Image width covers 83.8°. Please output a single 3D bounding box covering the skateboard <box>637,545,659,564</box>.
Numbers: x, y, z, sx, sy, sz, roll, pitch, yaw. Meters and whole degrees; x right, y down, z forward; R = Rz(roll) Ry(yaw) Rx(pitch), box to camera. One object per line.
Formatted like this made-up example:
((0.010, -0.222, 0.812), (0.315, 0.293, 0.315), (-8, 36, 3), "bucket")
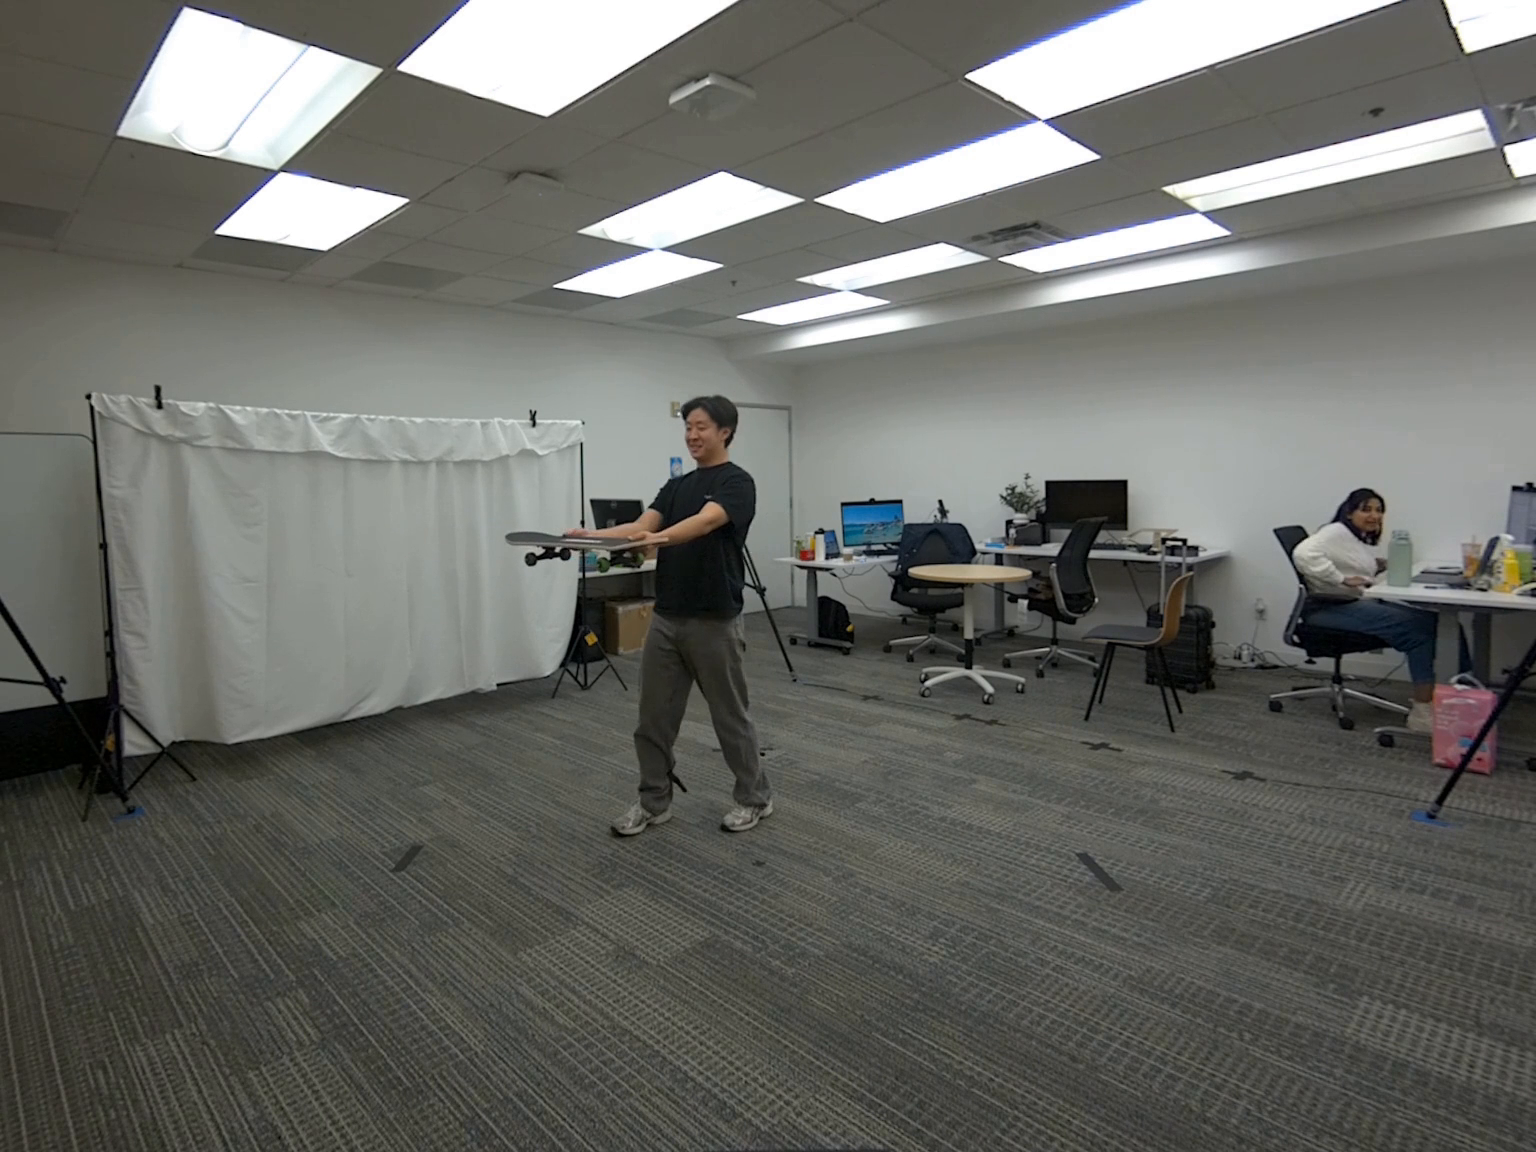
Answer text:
((-0.647, -0.085, 2.983), (0.810, 0.109, 0.189), (6, 13, 43), "skateboard")
